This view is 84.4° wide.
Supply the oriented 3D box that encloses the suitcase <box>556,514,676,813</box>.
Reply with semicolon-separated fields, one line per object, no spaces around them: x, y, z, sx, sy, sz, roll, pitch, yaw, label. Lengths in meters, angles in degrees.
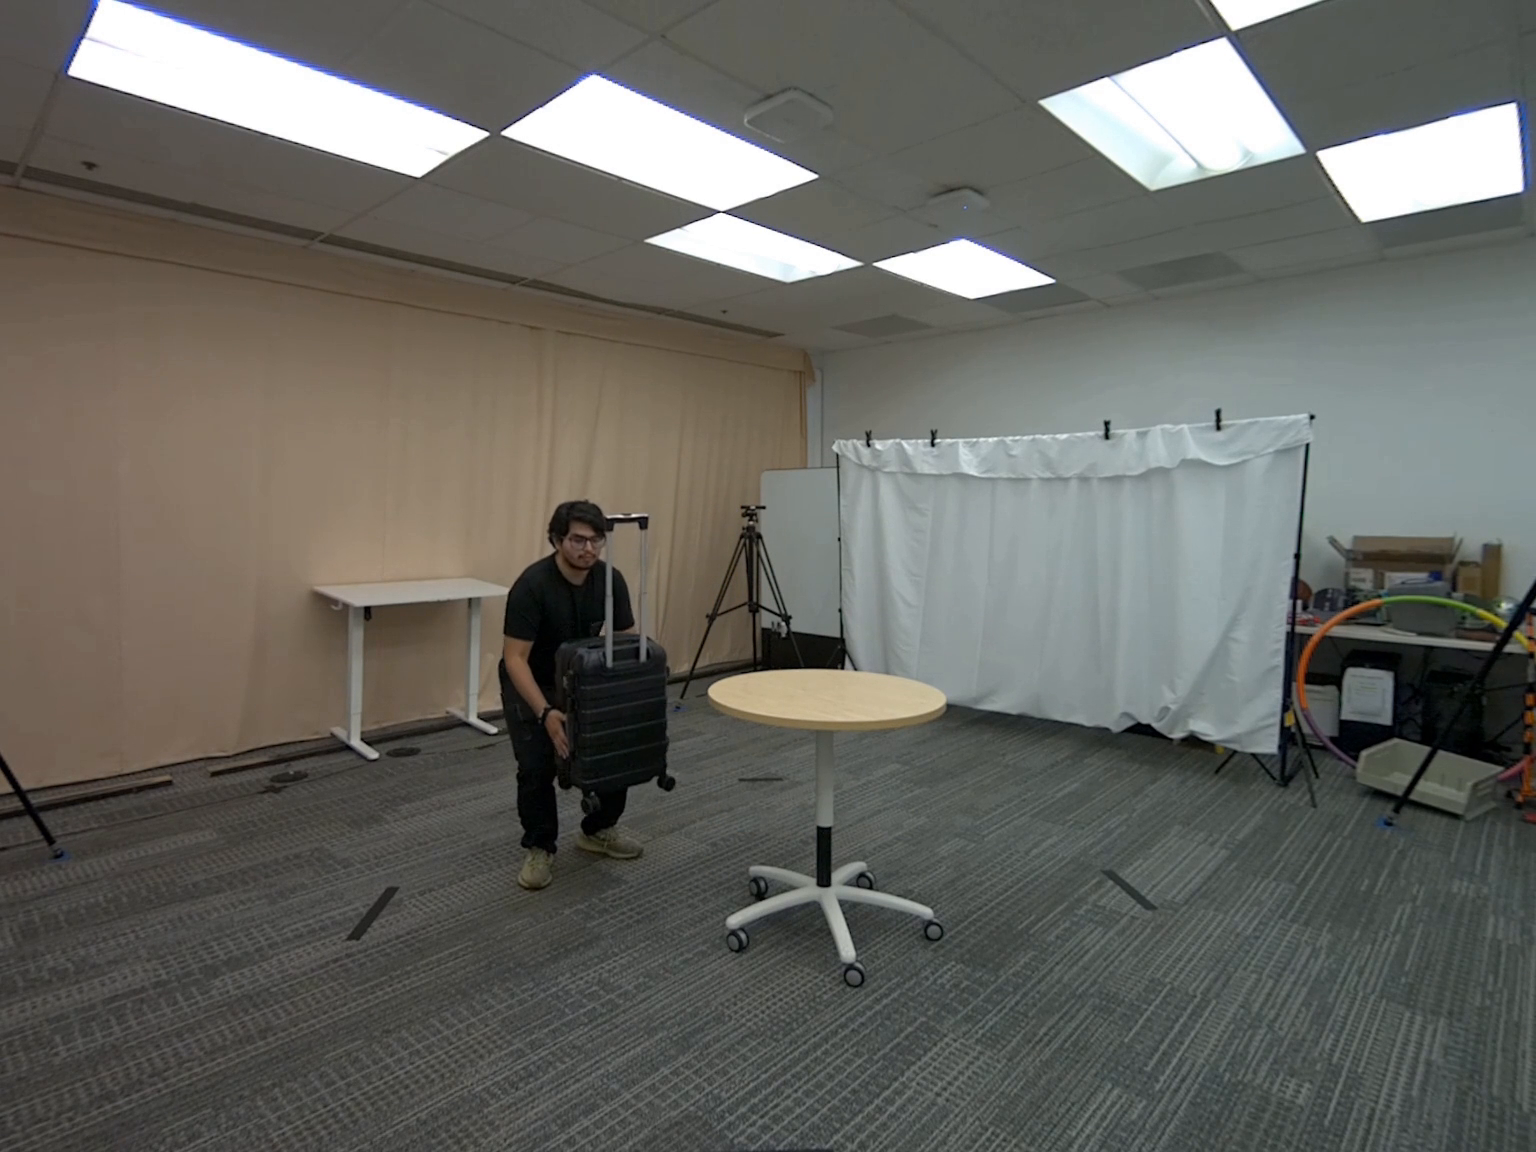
-0.549;0.276;2.907;0.373;0.975;0.265;-4;8;-37;suitcase
